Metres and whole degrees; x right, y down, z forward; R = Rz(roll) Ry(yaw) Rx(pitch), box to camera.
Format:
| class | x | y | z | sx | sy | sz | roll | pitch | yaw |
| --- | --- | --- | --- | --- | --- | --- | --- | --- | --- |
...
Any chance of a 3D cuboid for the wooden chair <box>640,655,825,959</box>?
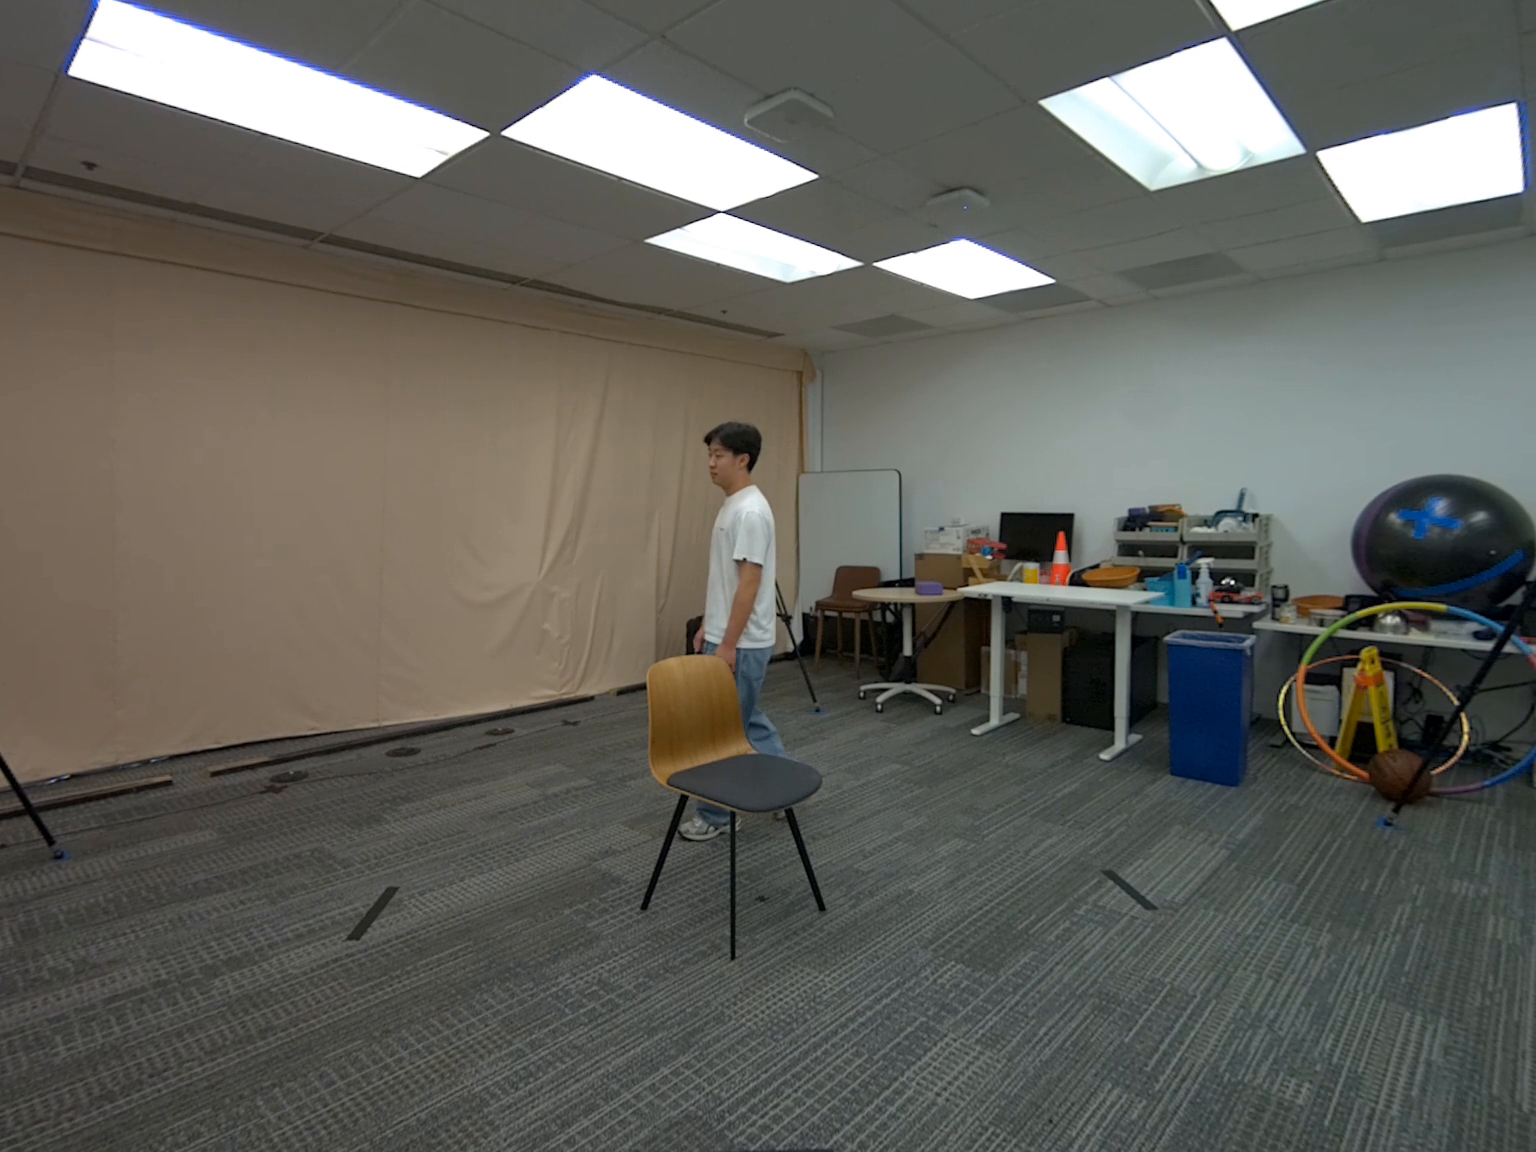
| class | x | y | z | sx | sy | sz | roll | pitch | yaw |
| --- | --- | --- | --- | --- | --- | --- | --- | --- | --- |
| wooden chair | -0.115 | 0.726 | 2.860 | 0.539 | 0.877 | 0.463 | -3 | 0 | 44 |
